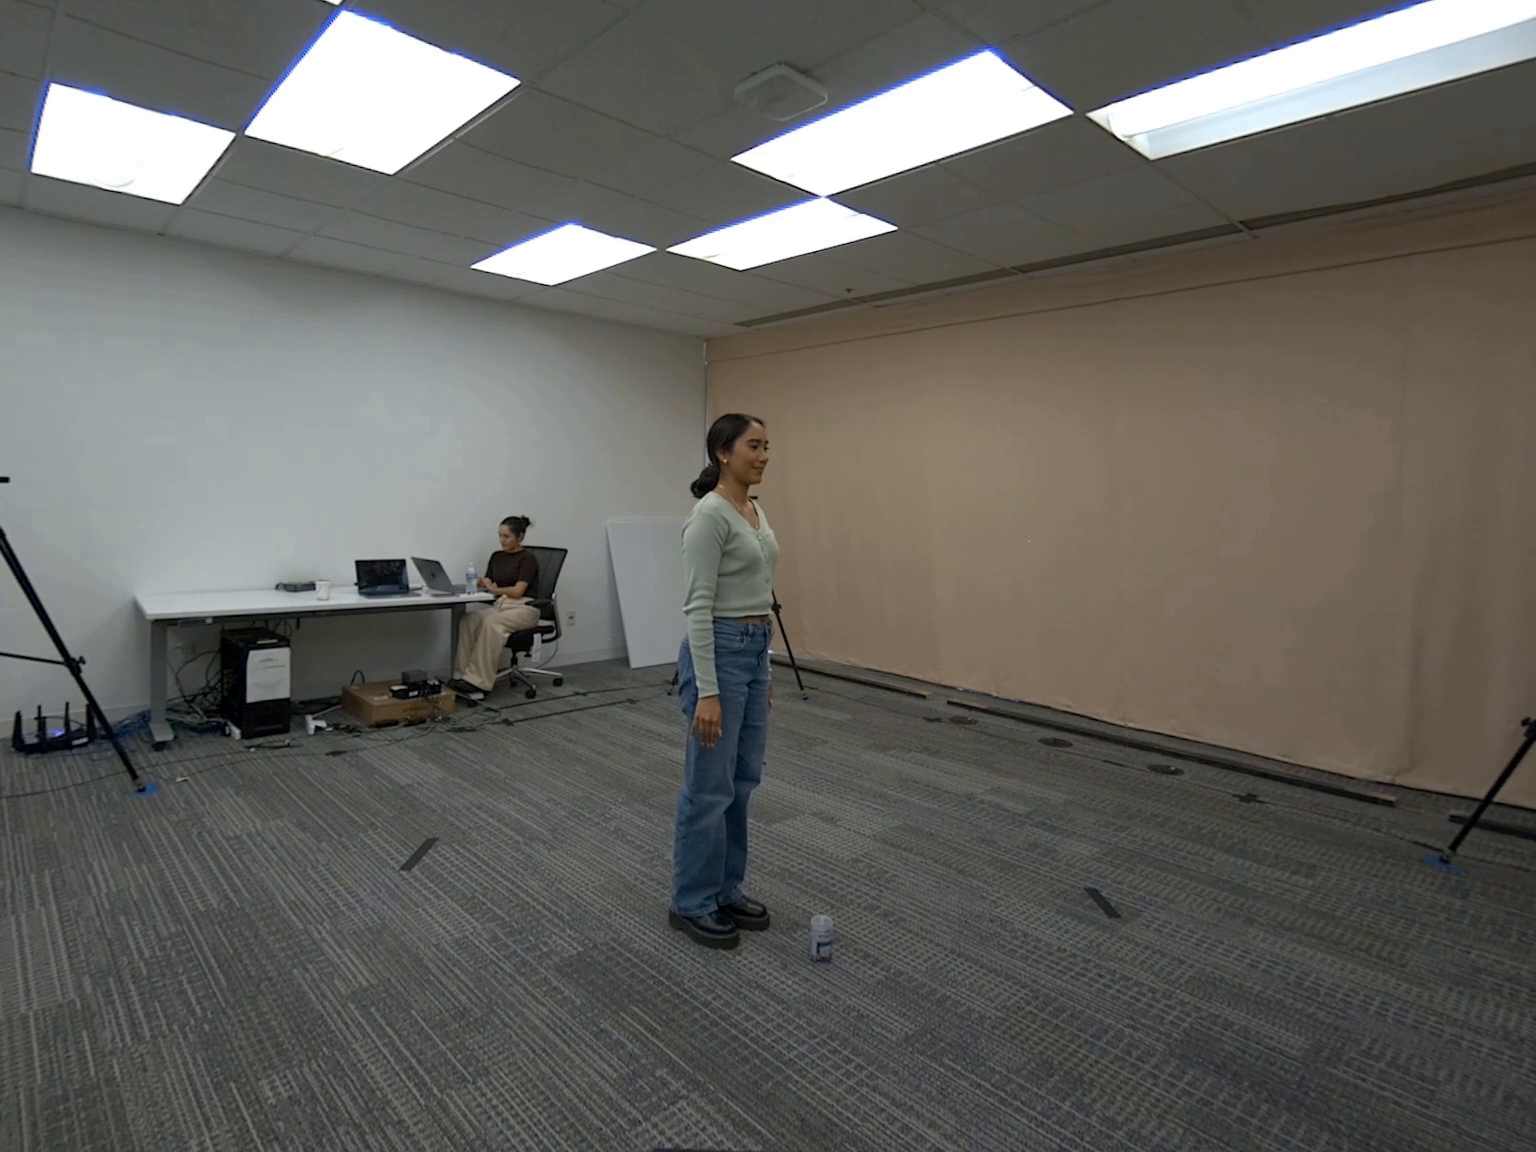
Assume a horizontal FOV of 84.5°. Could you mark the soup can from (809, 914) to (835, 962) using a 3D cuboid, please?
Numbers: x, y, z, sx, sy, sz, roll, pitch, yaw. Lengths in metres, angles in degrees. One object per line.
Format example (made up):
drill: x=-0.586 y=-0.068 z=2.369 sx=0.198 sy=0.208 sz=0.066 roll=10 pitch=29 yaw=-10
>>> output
soup can: x=0.152 y=1.103 z=2.541 sx=0.067 sy=0.121 sz=0.067 roll=4 pitch=6 yaw=-2
